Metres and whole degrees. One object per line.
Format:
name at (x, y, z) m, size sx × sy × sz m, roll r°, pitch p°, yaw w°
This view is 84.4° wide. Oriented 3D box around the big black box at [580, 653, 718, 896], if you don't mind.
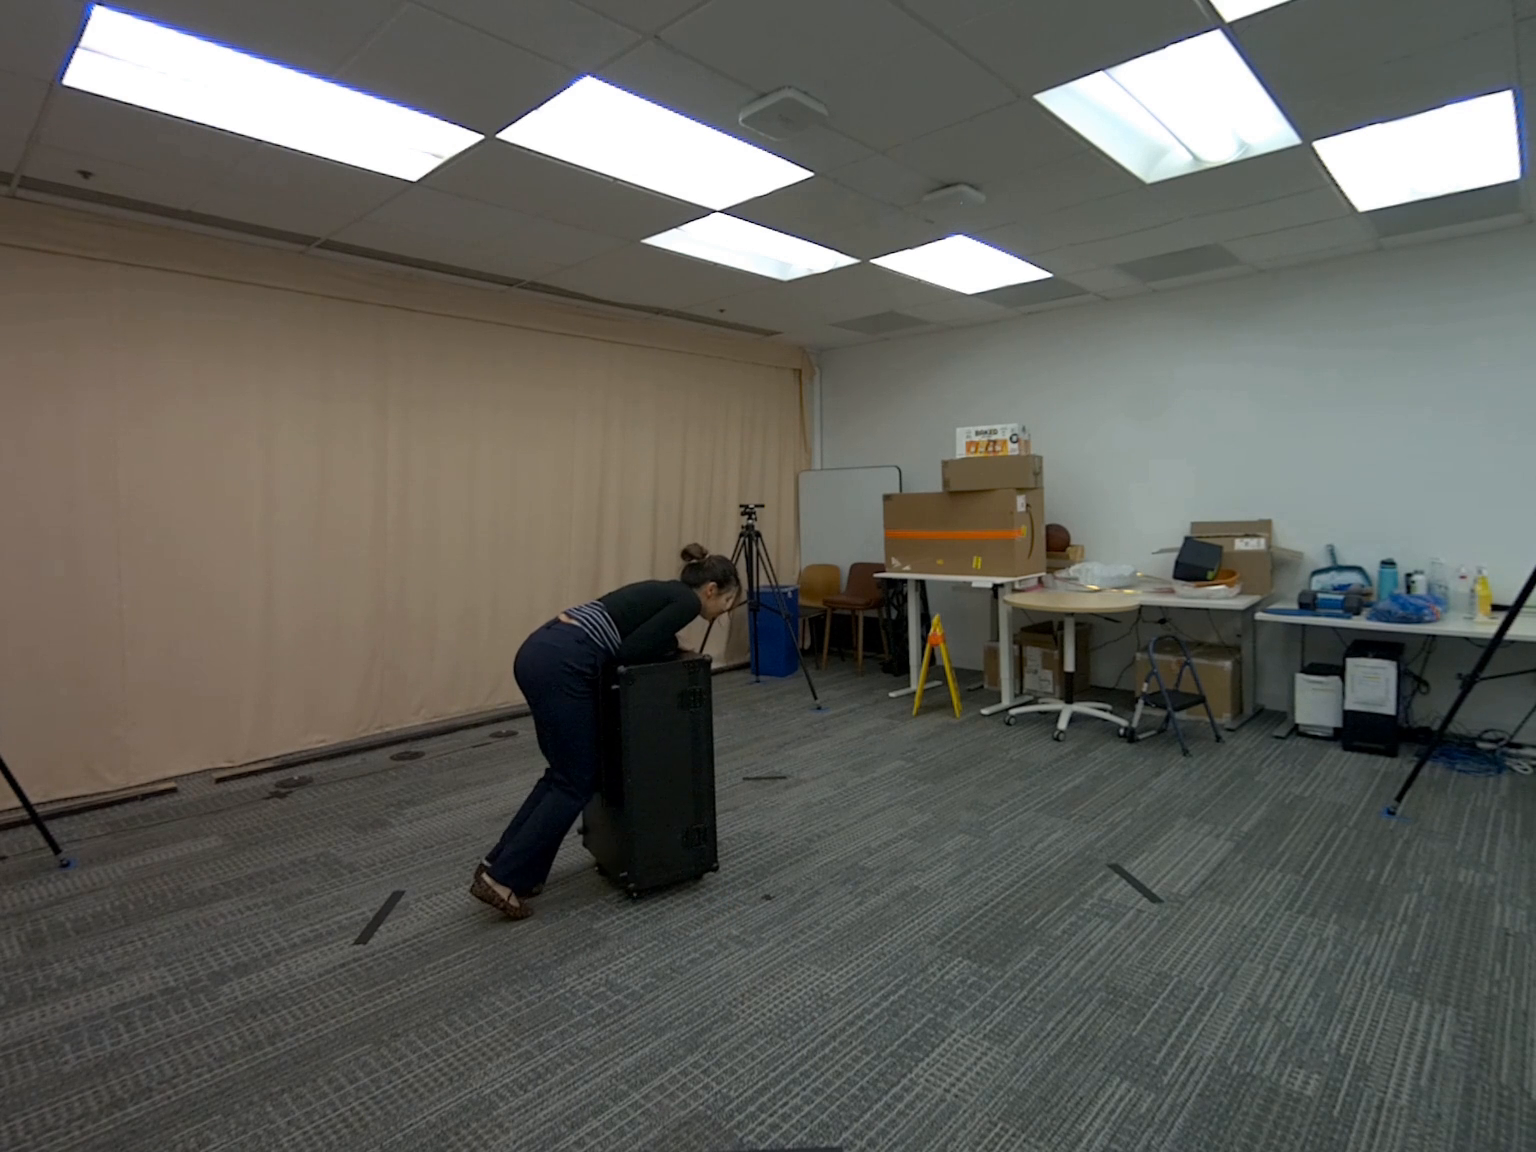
big black box at (-0.469, 0.712, 3.150) m, size 0.386 × 0.859 × 0.536 m, roll -5°, pitch 5°, yaw -29°
